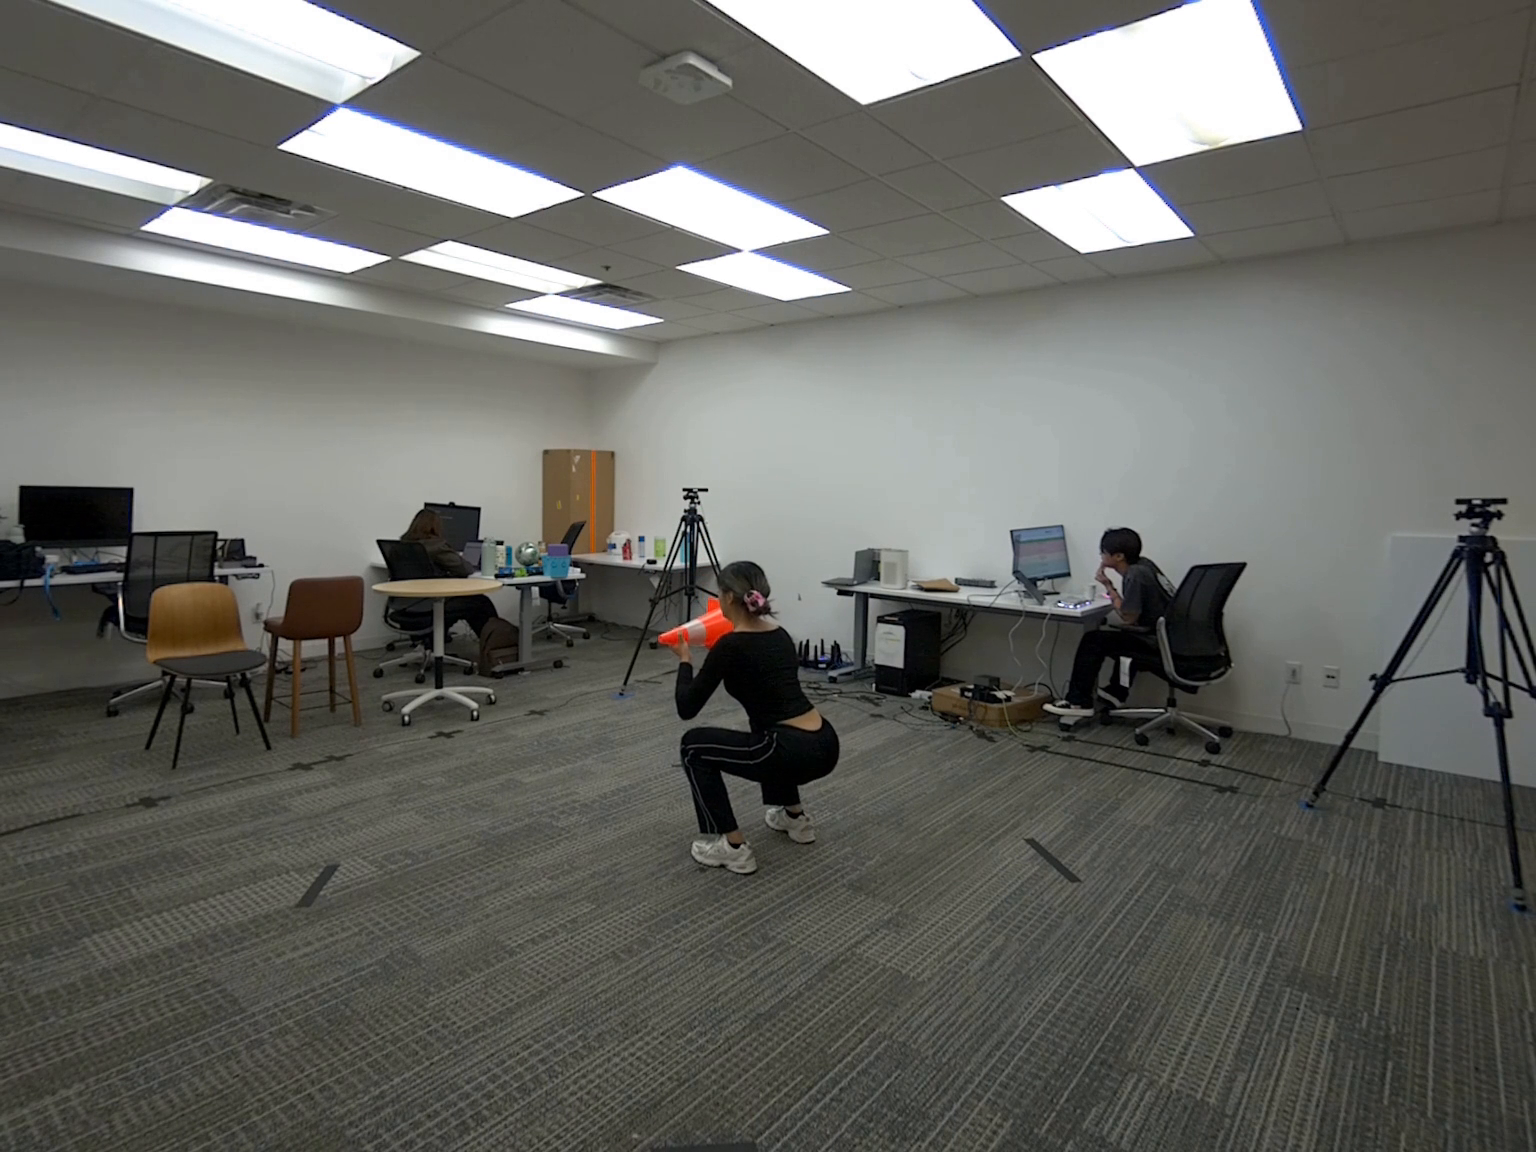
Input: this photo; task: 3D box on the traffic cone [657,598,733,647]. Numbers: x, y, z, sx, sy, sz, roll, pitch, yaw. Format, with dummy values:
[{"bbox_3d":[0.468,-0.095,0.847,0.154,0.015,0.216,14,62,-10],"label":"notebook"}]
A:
[{"bbox_3d":[-0.313,0.224,3.475,0.211,0.203,0.373,20,18,37],"label":"traffic cone"}]
